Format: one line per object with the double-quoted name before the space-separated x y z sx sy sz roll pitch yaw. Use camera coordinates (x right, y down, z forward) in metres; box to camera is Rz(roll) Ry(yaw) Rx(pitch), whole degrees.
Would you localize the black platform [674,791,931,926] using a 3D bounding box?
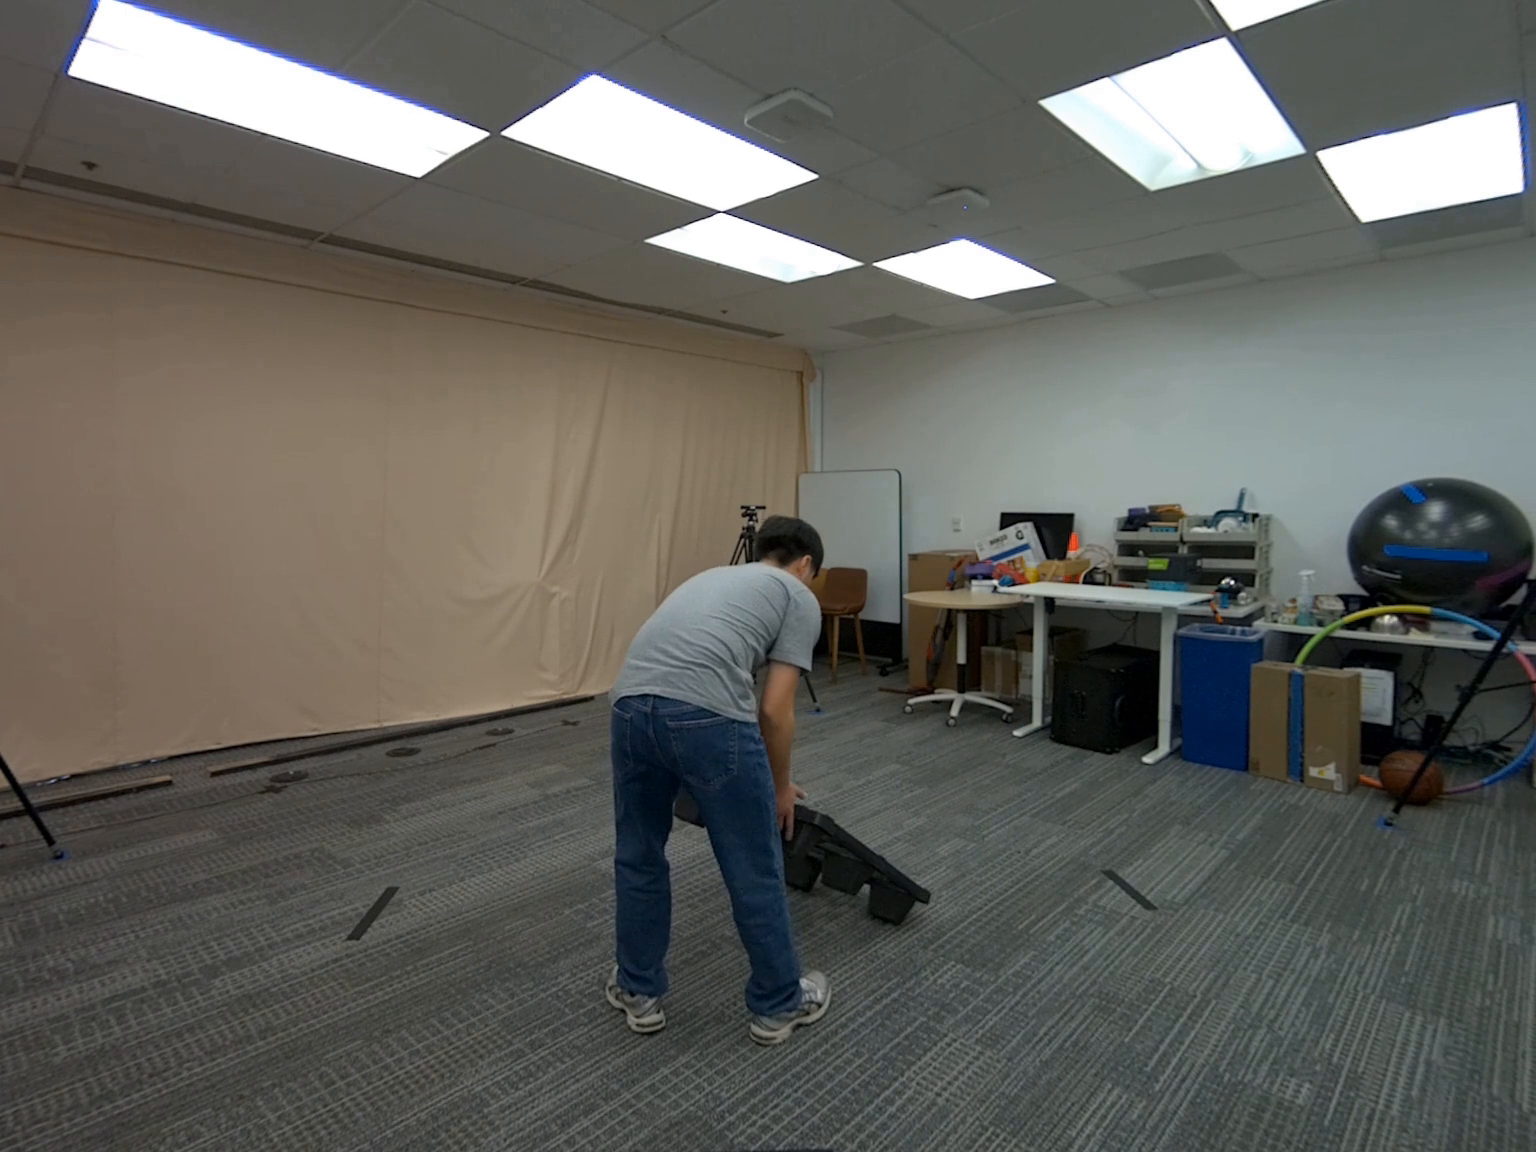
"black platform" 0.089 0.901 2.739 0.625 0.144 0.777 2 -32 40
